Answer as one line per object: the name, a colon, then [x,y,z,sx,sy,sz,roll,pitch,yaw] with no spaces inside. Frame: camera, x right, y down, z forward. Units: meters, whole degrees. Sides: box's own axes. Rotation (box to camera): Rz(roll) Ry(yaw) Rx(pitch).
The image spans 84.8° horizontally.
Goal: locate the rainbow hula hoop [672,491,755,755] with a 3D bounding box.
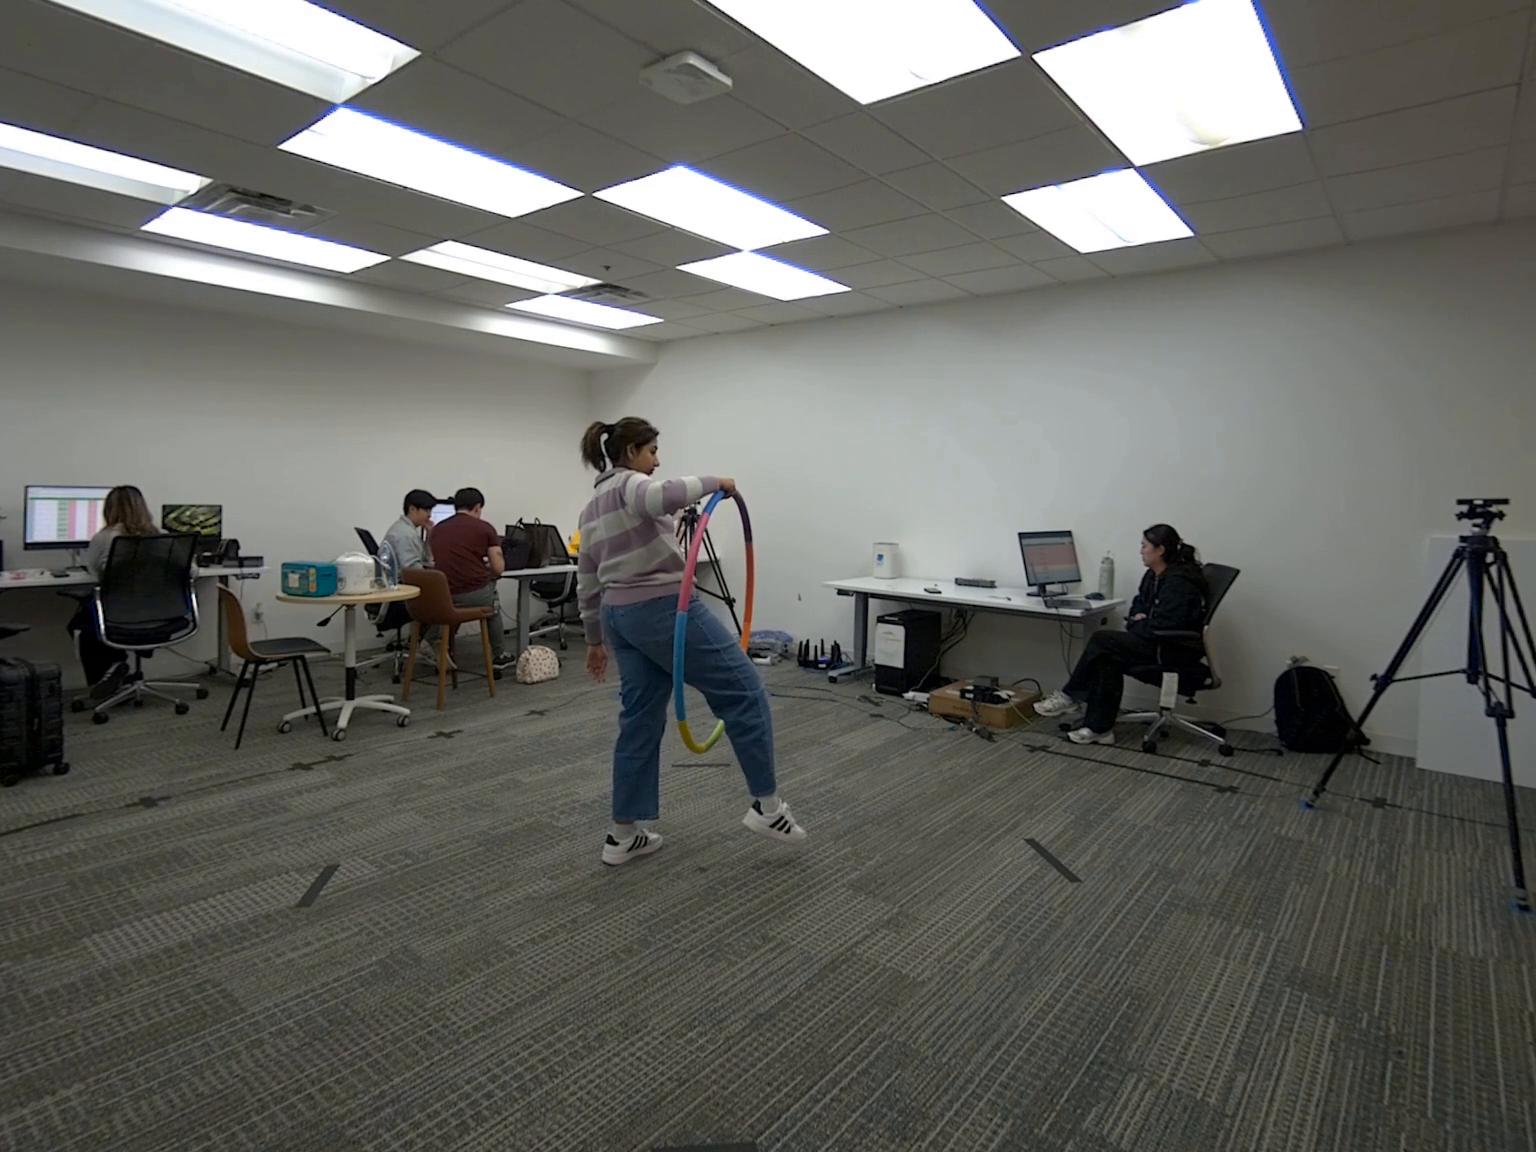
rainbow hula hoop: [-0.192,0.156,3.153,0.052,0.981,0.973,6,5,12]
